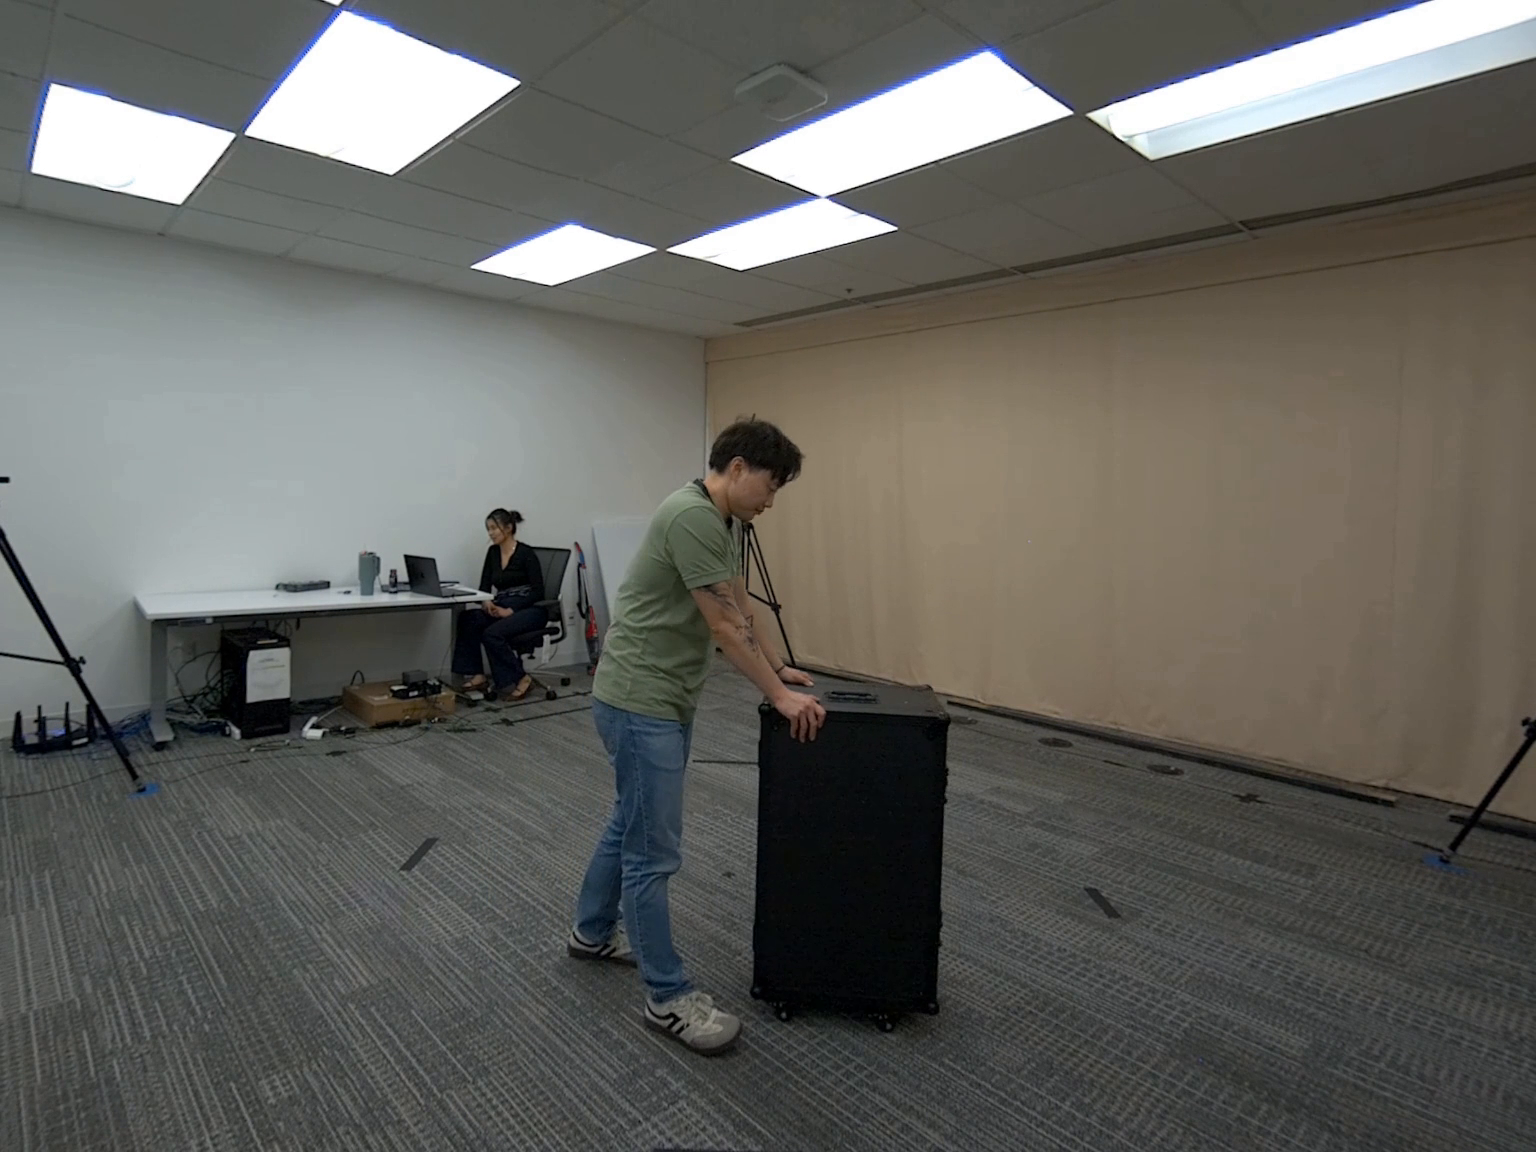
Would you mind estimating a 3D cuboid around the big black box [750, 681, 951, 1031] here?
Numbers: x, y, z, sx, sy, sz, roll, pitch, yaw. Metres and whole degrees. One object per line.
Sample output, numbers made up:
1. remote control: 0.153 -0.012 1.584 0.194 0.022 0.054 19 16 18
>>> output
1. big black box: 0.210 0.761 2.361 0.524 0.860 0.395 2 2 5
